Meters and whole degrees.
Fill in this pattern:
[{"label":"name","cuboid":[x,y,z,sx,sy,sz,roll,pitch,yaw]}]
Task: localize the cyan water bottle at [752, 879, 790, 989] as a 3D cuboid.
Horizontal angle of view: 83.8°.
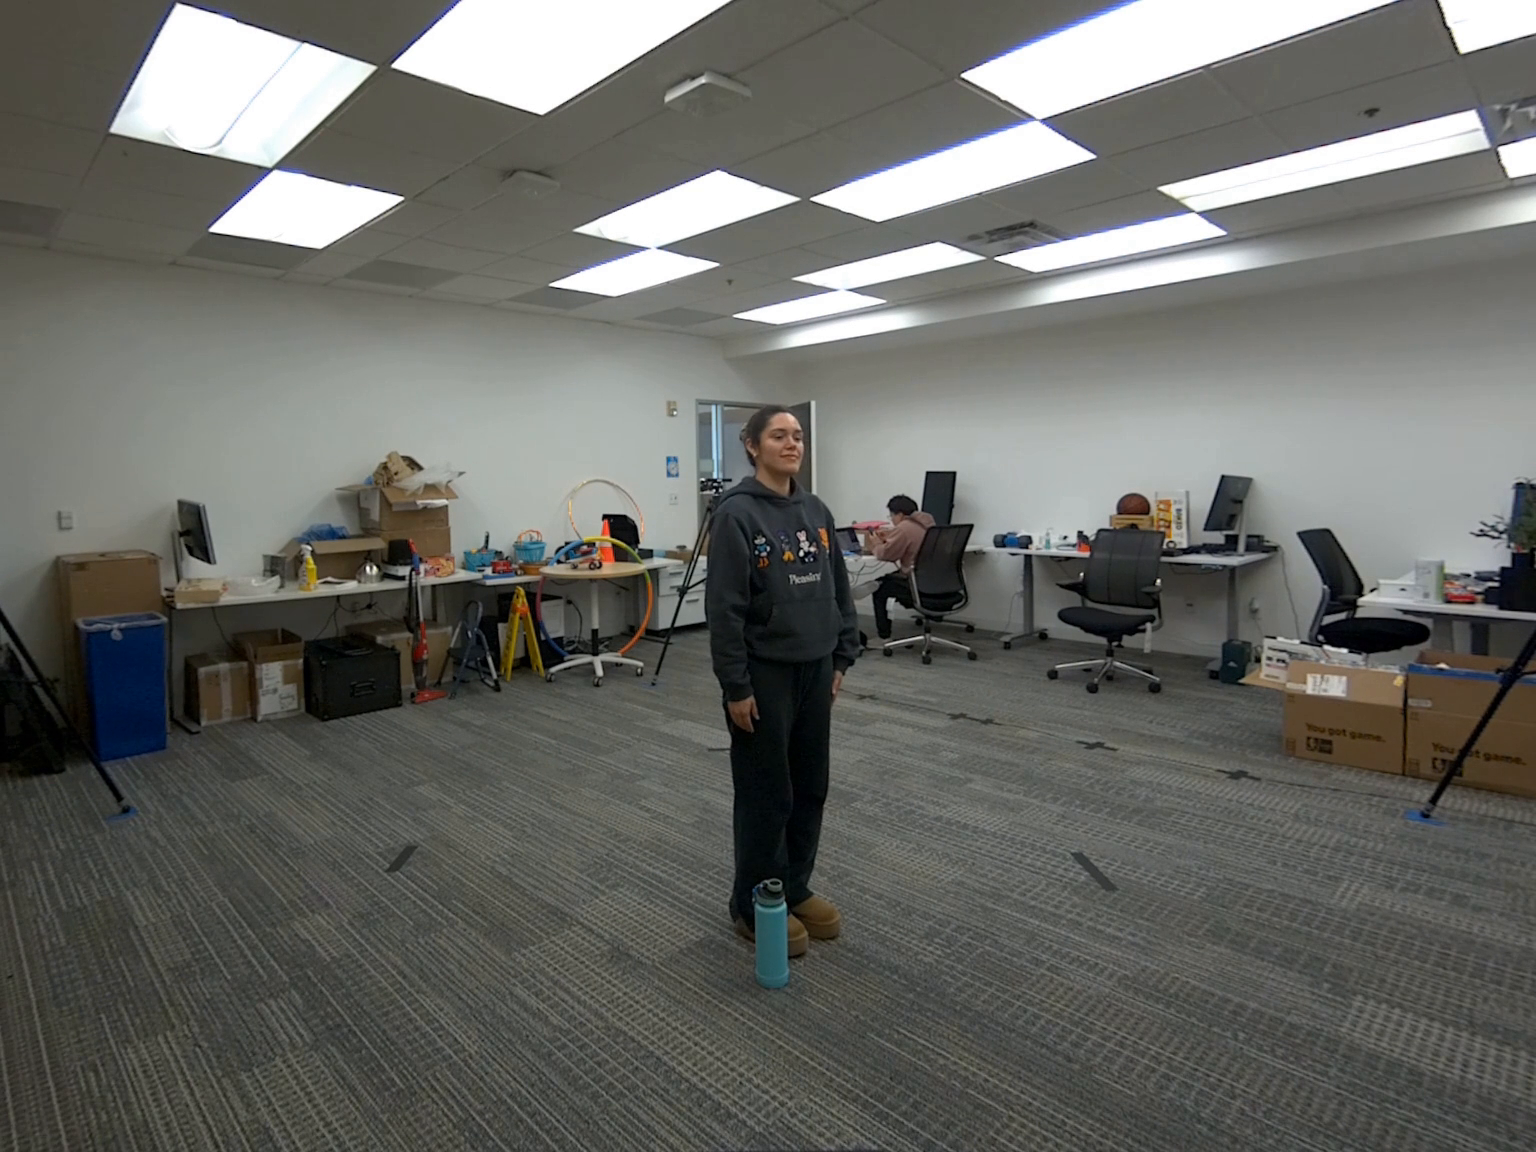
[{"label":"cyan water bottle","cuboid":[0.013,0.986,2.363,0.092,0.282,0.093,-3,3,-1]}]
